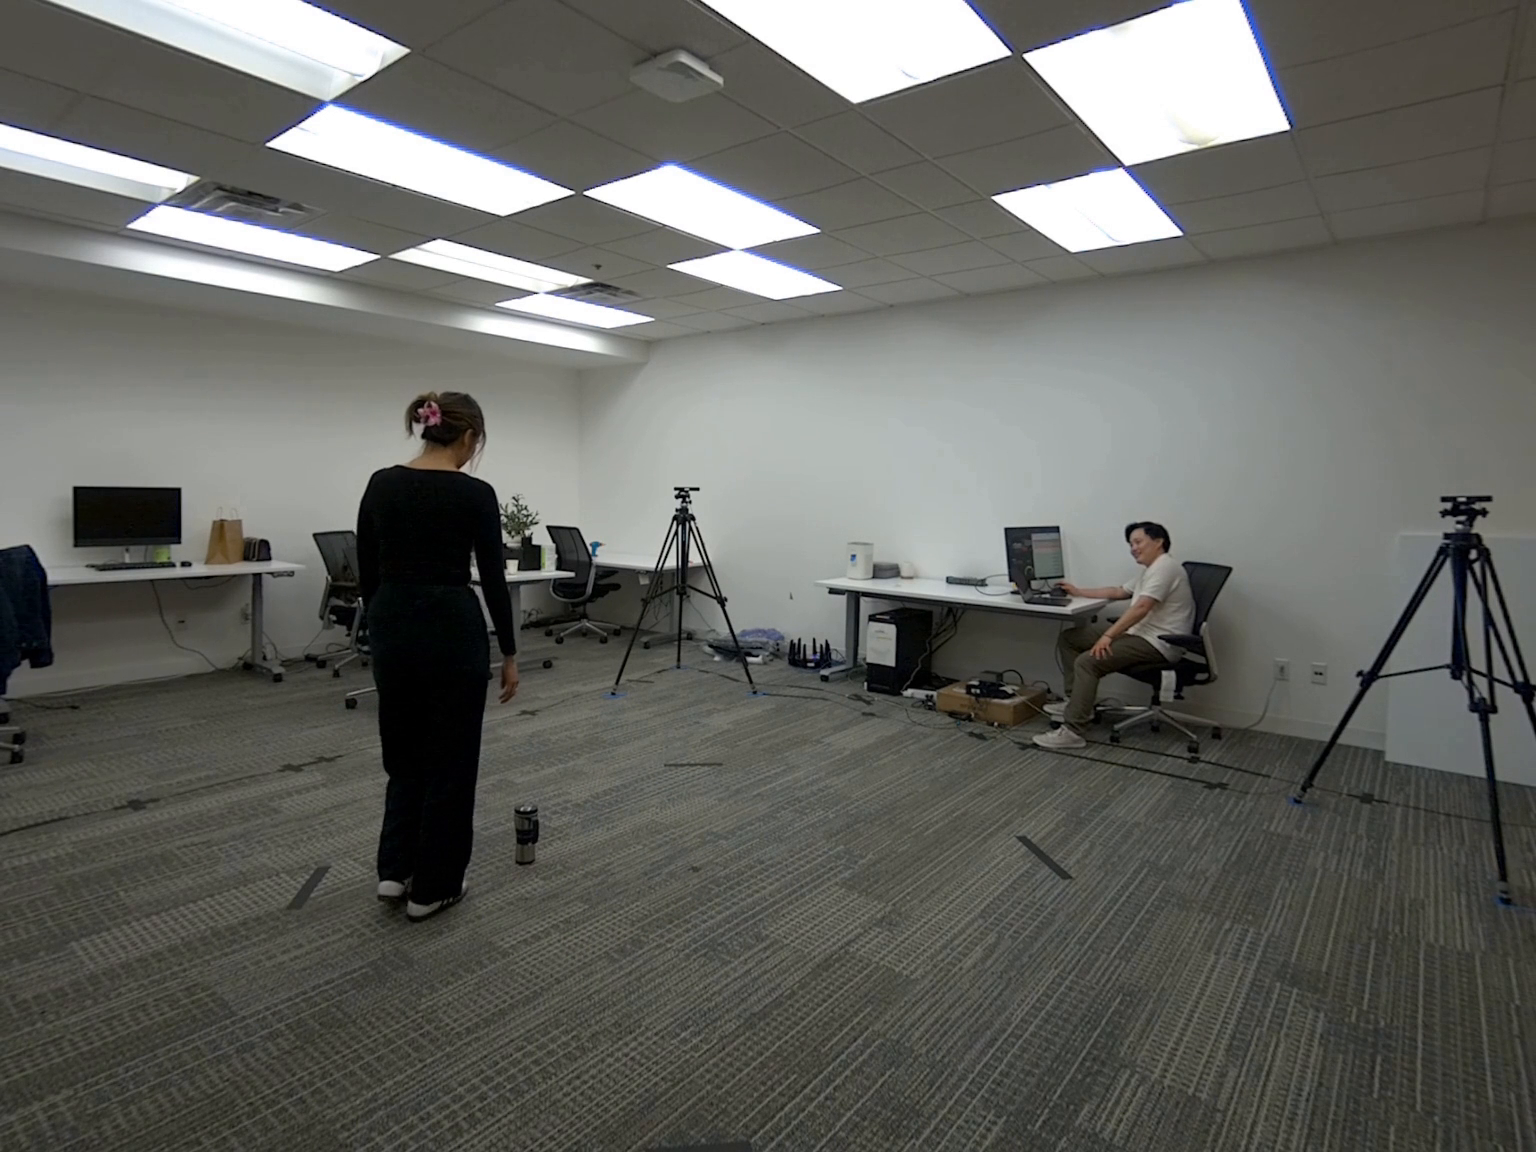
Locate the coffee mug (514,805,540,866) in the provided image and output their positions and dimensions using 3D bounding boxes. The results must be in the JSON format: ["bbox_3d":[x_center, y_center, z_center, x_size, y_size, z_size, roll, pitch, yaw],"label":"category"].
[{"bbox_3d":[-0.905,0.957,3.116,0.086,0.203,0.124,2,0,-18],"label":"coffee mug"}]
